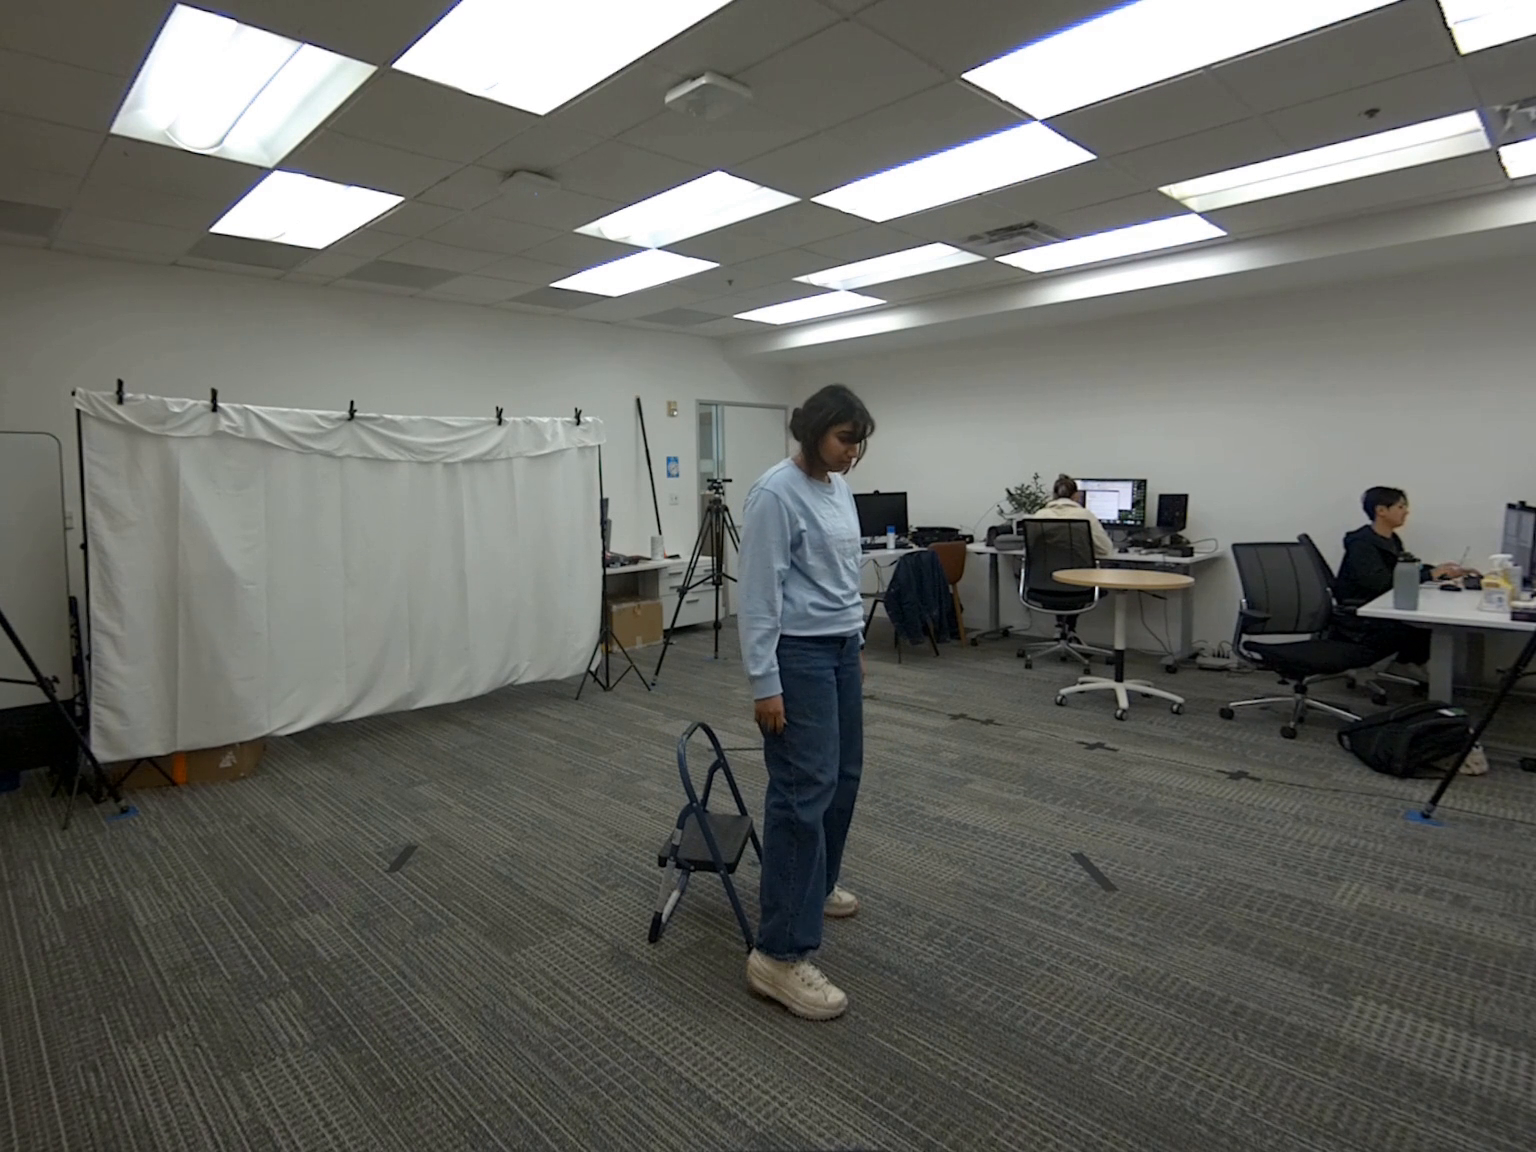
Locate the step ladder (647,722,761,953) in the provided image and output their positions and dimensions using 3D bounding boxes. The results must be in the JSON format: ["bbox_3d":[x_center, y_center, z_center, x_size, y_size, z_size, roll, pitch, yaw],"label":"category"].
[{"bbox_3d":[-0.164,0.792,2.728,0.353,0.604,0.427,1,5,10],"label":"step ladder"}]
